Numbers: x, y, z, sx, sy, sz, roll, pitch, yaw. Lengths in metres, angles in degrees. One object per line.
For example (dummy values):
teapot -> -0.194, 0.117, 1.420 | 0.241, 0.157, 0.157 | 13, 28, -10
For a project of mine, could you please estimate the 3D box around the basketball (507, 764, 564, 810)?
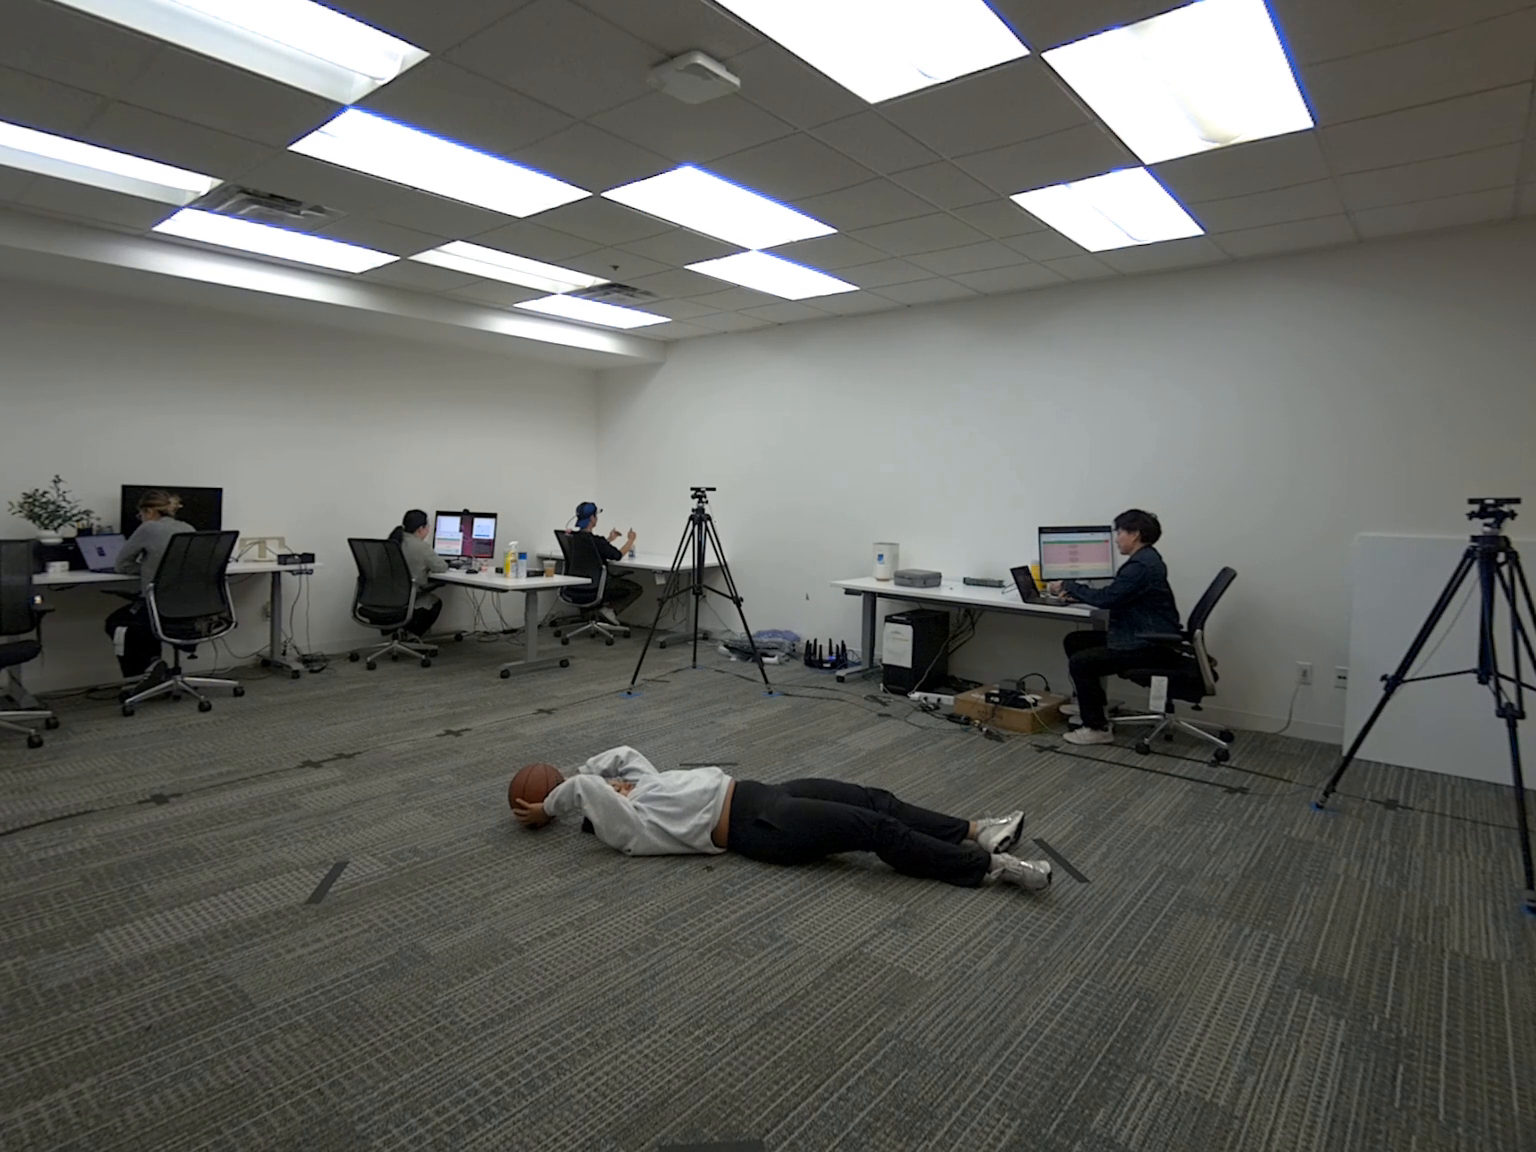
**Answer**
basketball -> -0.961, 0.892, 3.510 | 0.236, 0.234, 0.238 | -2, 8, -2
